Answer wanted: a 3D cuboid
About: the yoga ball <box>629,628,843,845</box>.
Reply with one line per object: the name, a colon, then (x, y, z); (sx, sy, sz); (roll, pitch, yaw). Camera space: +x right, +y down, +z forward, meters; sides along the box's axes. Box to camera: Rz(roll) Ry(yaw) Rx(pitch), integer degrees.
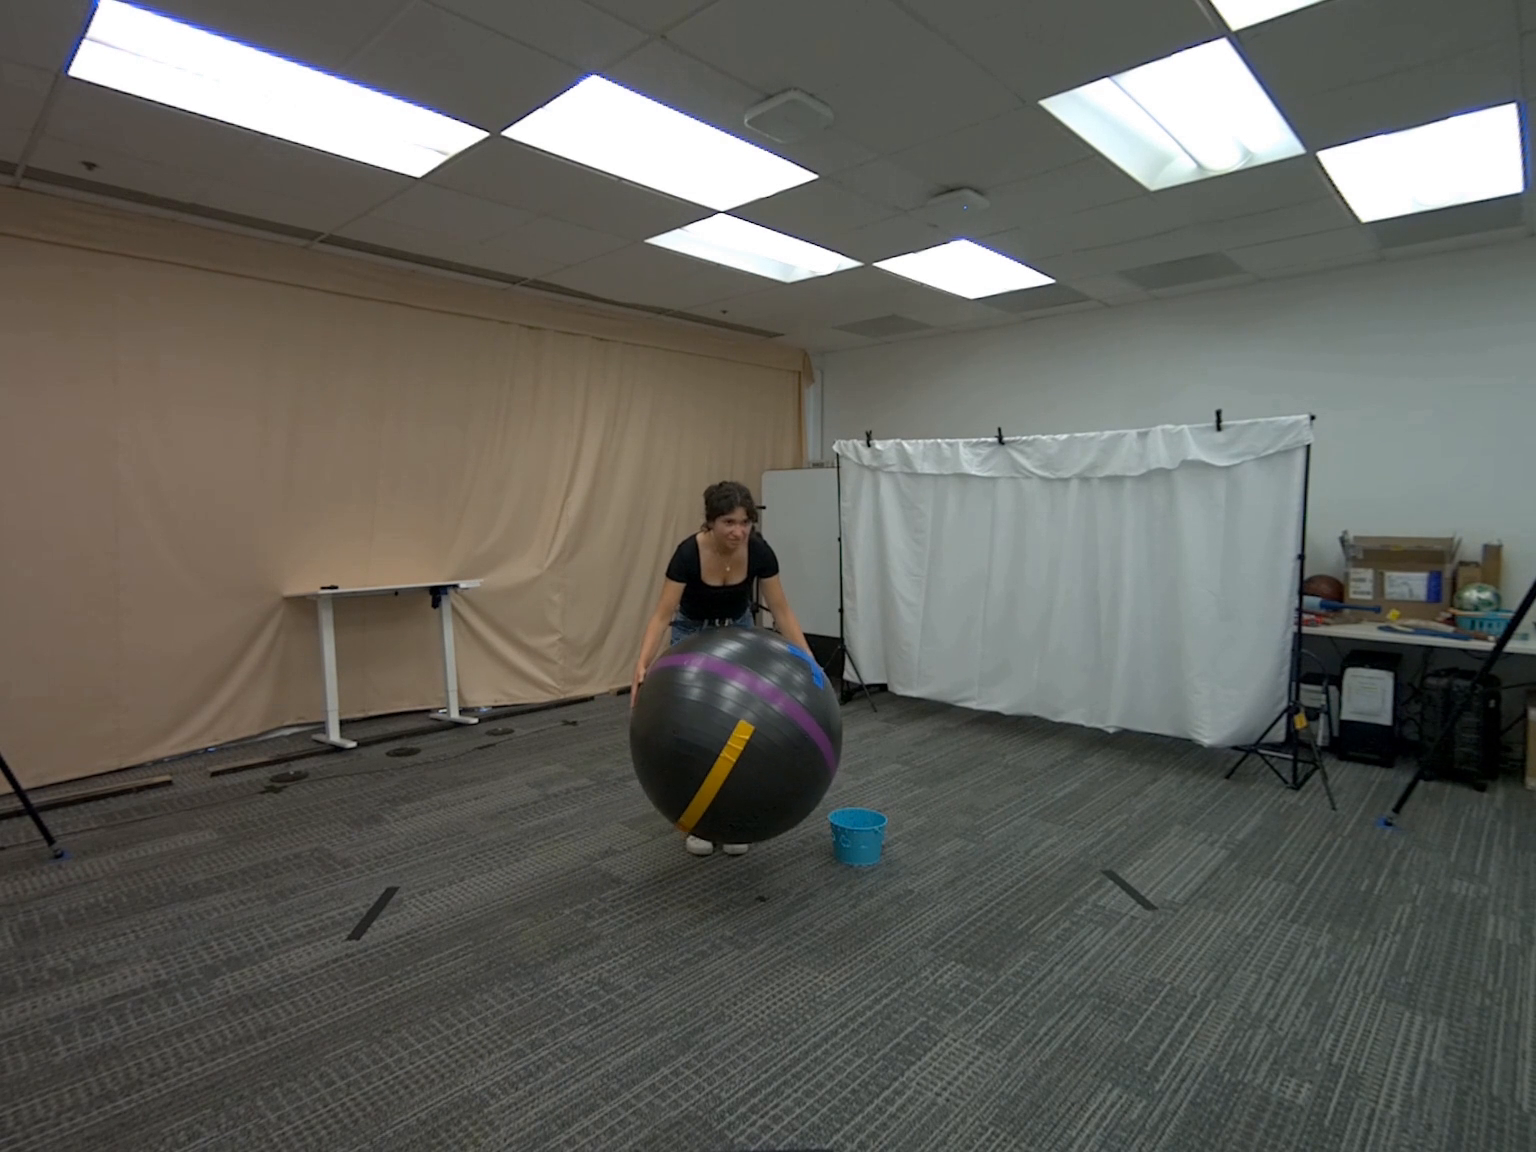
yoga ball: (-0.119, 0.564, 2.978); (0.757, 0.756, 0.760); (0, 4, -2)
